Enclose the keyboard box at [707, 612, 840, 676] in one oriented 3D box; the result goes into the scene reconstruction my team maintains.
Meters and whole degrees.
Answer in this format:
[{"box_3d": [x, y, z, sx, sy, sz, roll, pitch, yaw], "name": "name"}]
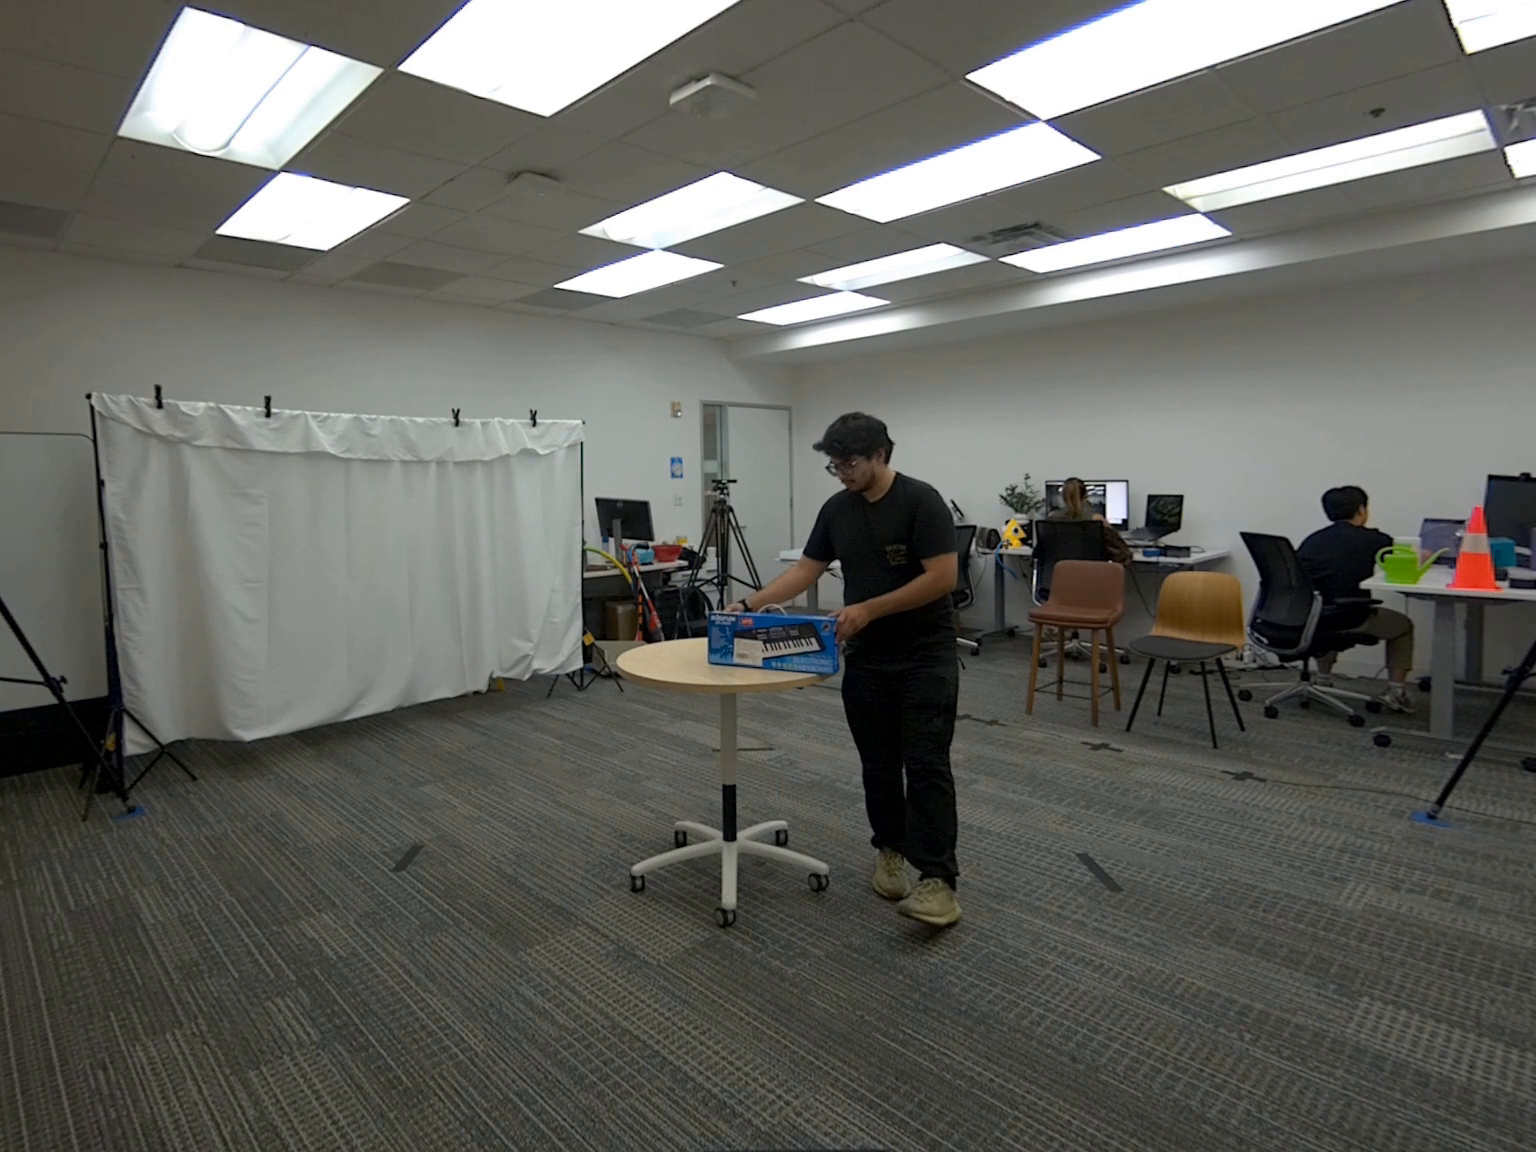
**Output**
[{"box_3d": [0.017, 0.213, 2.783, 0.446, 0.176, 0.058, 1, 0, 24], "name": "keyboard box"}]
